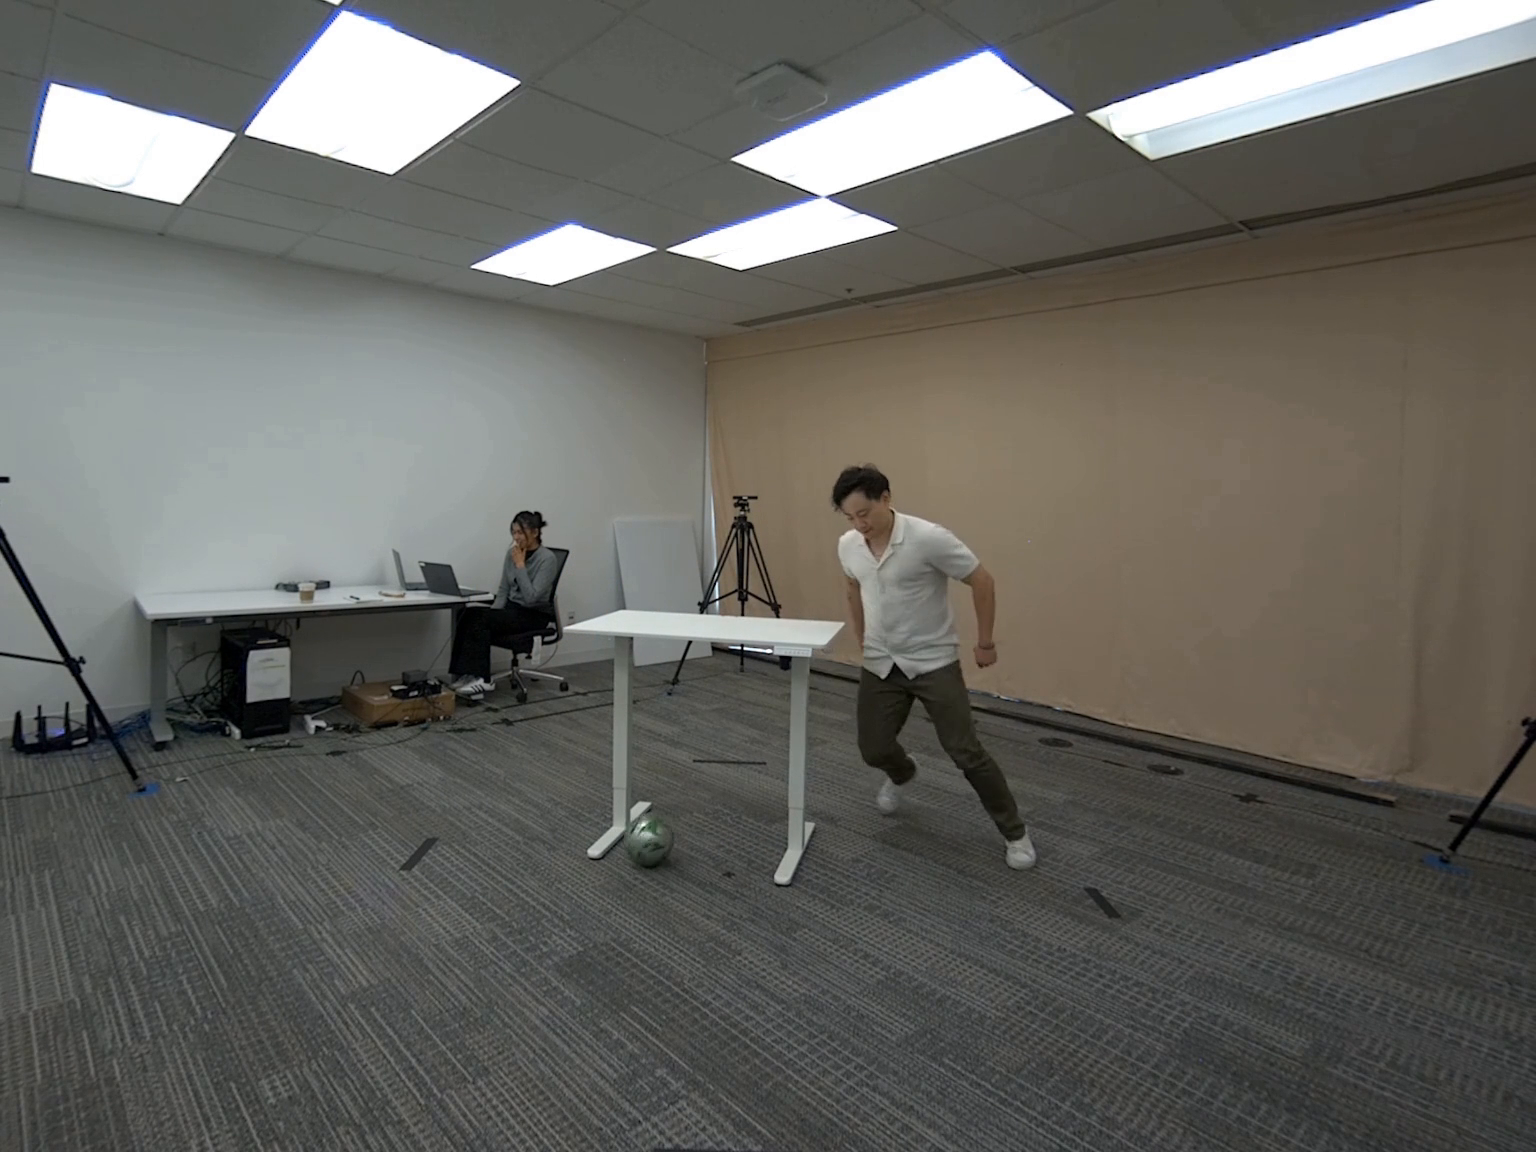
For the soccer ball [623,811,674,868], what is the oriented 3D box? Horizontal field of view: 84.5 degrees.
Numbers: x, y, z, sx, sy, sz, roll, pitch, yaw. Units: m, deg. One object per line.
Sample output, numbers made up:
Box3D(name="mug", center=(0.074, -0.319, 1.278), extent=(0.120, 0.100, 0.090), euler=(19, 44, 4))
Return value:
Box3D(name="soccer ball", center=(-0.457, 0.993, 3.170), extent=(0.187, 0.187, 0.188), euler=(1, 4, -1))
